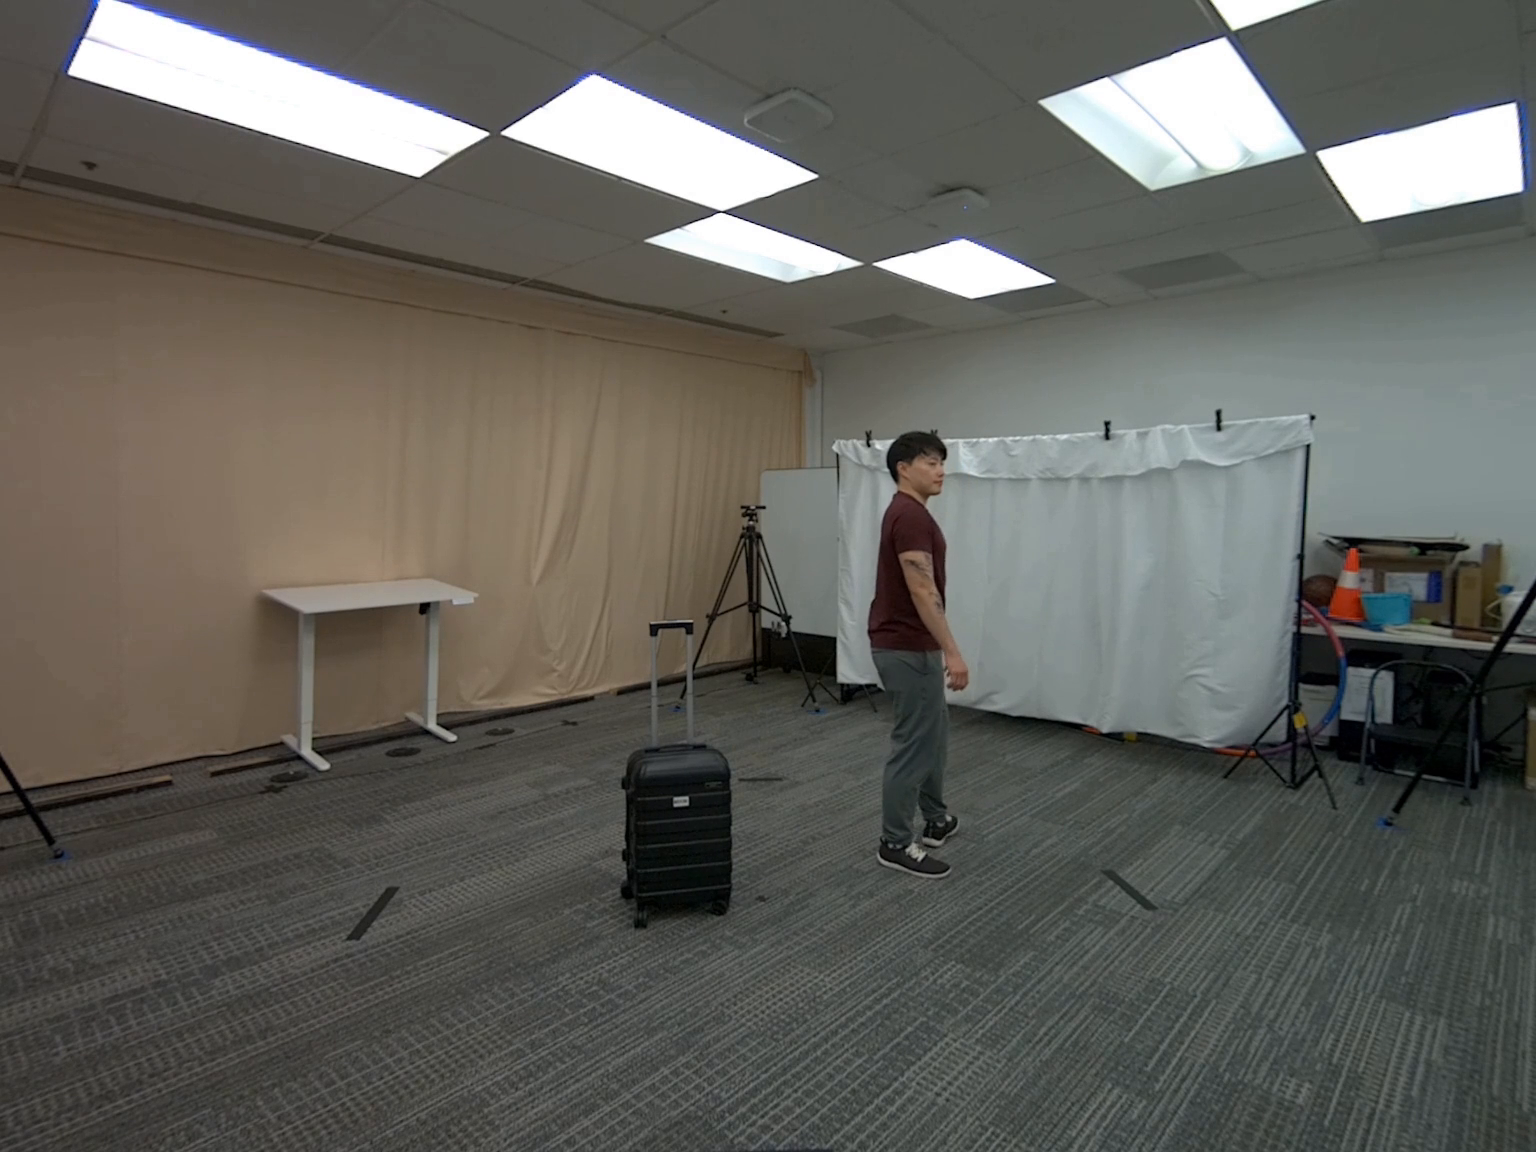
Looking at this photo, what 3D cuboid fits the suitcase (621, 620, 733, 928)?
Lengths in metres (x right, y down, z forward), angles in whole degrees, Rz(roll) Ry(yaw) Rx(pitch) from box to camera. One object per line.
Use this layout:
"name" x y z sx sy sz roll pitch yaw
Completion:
"suitcase" -0.312 0.672 2.916 0.379 0.975 0.261 -1 5 -13
